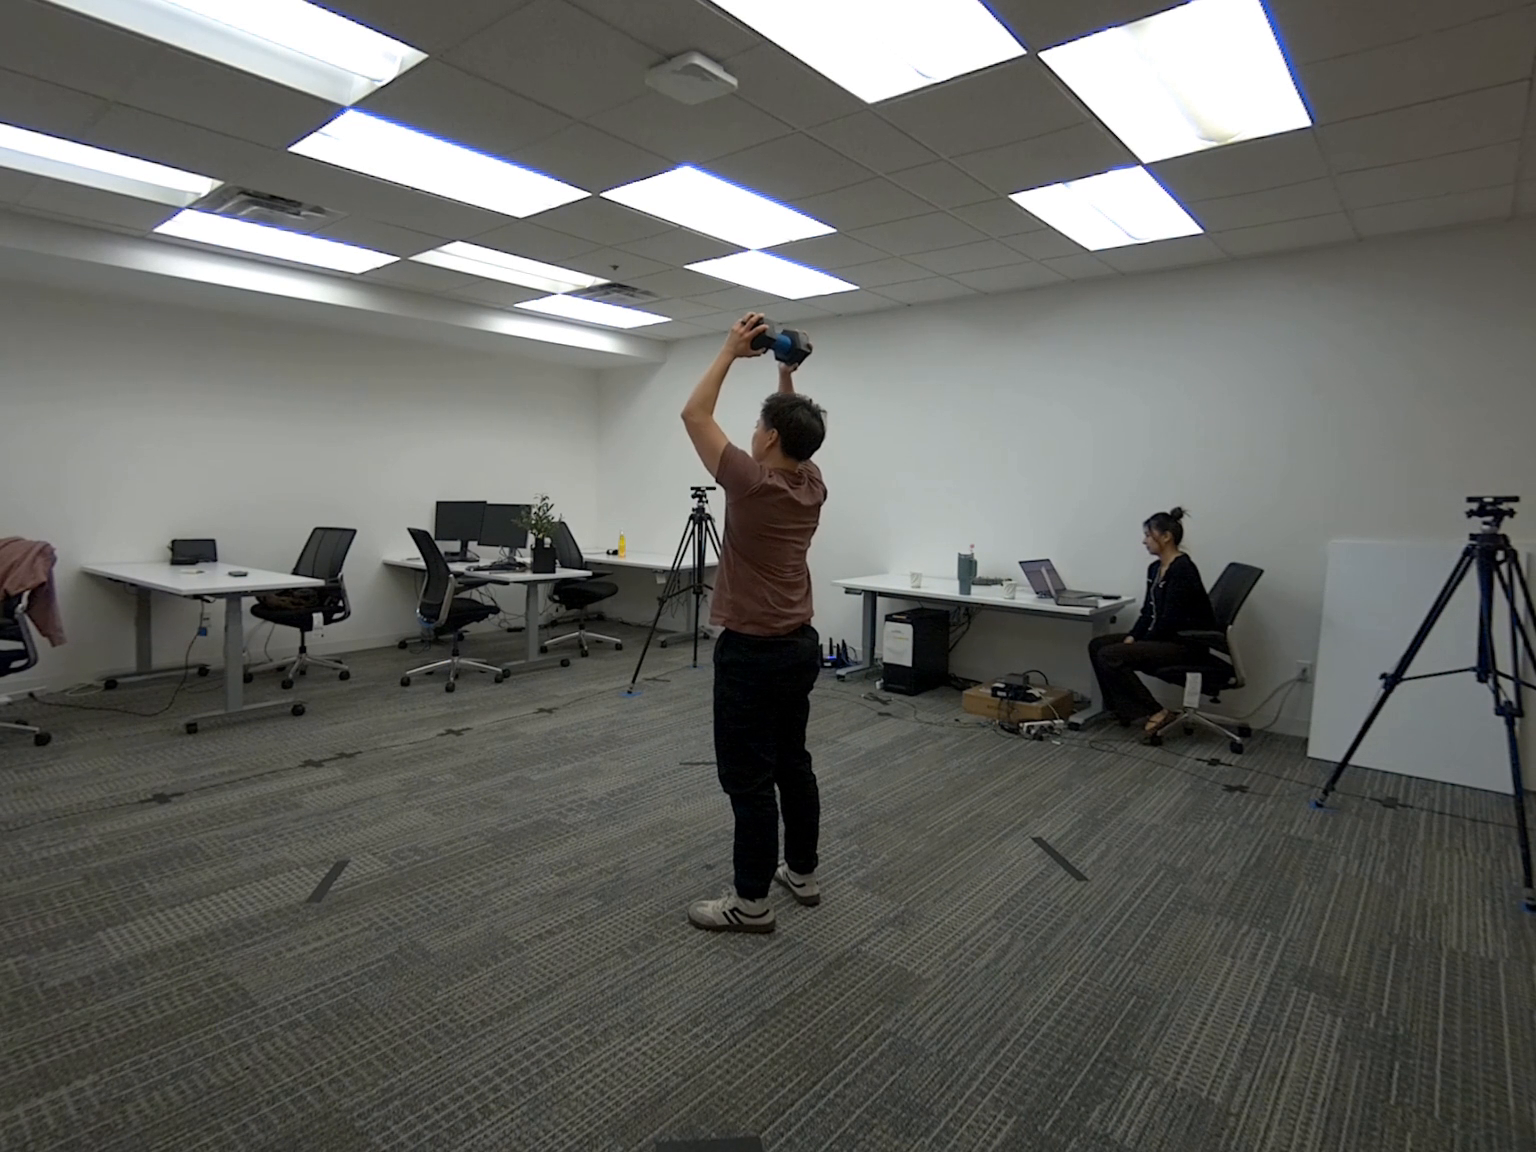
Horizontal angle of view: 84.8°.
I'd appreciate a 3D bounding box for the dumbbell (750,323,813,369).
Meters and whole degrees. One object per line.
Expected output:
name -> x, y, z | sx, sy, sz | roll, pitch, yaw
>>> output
dumbbell -> 0.011, -0.772, 2.786 | 0.123, 0.112, 0.284 | -46, -24, 26
